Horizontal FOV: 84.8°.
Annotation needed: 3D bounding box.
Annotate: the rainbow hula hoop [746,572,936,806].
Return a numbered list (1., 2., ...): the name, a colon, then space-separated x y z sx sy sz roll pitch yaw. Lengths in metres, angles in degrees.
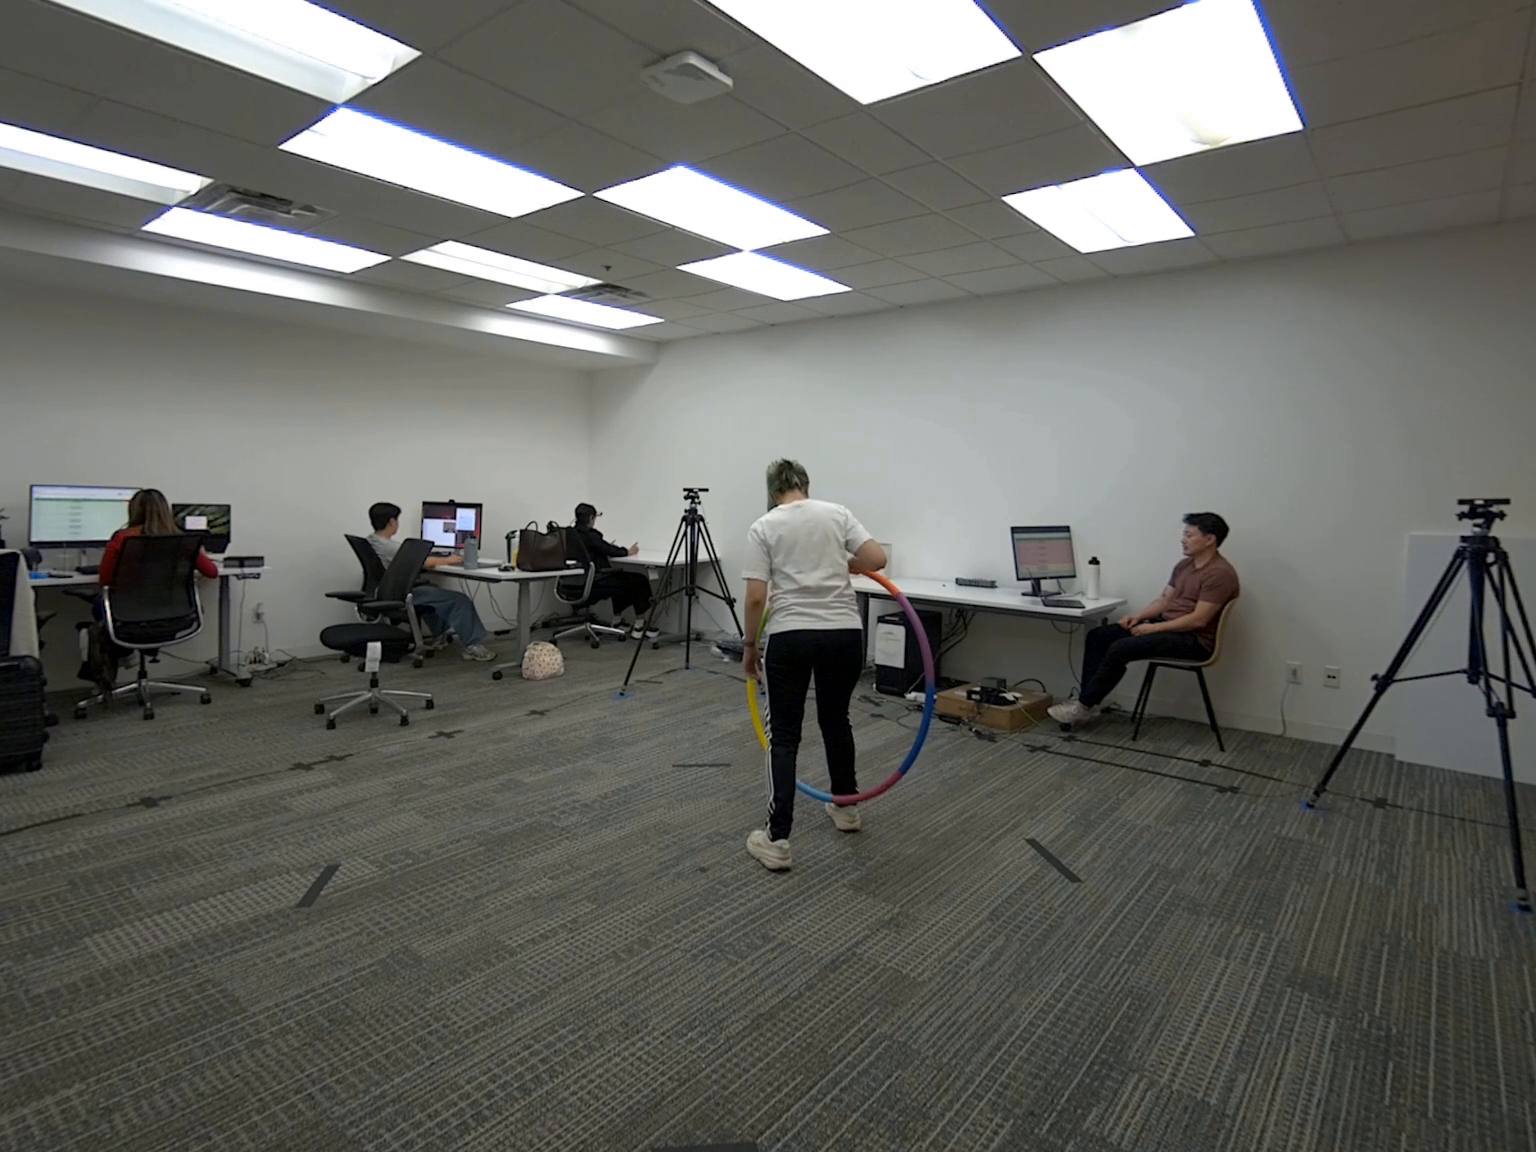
1. rainbow hula hoop: 0.260 0.439 3.583 1.012 0.981 0.034 5 -3 44
